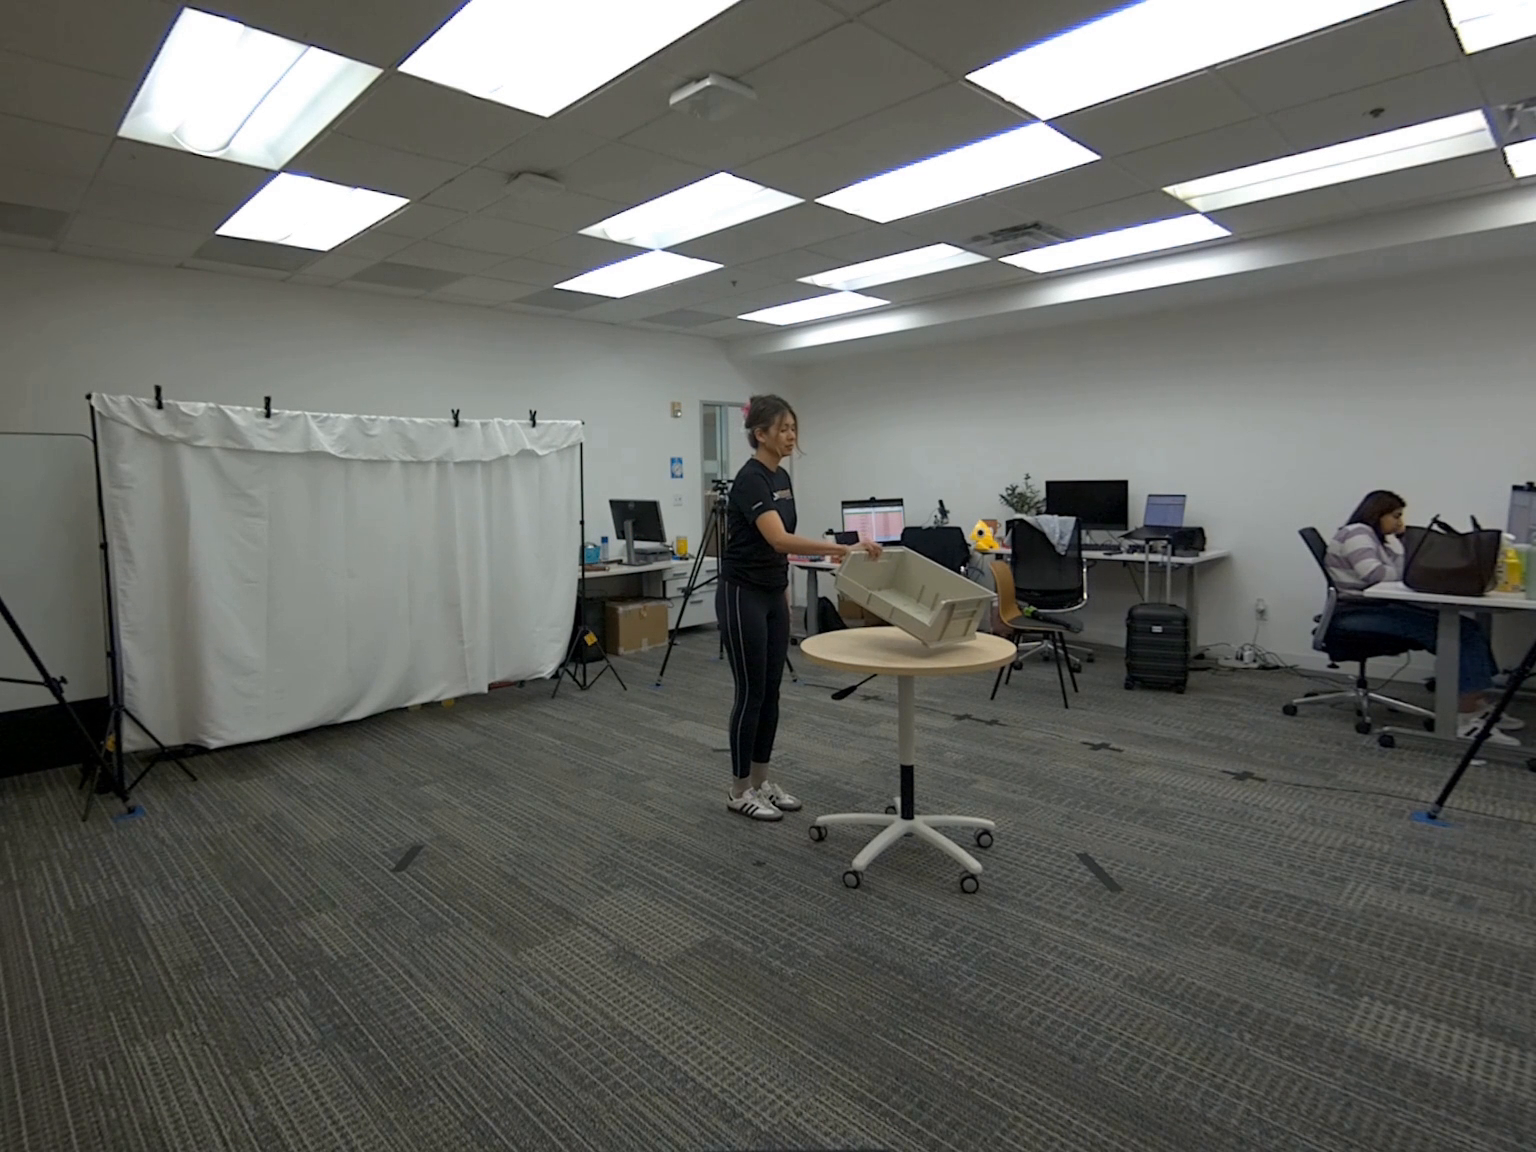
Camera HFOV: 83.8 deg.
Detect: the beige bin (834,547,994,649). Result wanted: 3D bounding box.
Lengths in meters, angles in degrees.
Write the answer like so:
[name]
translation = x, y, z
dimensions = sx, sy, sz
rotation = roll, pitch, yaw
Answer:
[beige bin]
translation = 0.516, 0.071, 3.034
dimensions = 0.367, 0.187, 0.439
rotation = -3, 26, -45
